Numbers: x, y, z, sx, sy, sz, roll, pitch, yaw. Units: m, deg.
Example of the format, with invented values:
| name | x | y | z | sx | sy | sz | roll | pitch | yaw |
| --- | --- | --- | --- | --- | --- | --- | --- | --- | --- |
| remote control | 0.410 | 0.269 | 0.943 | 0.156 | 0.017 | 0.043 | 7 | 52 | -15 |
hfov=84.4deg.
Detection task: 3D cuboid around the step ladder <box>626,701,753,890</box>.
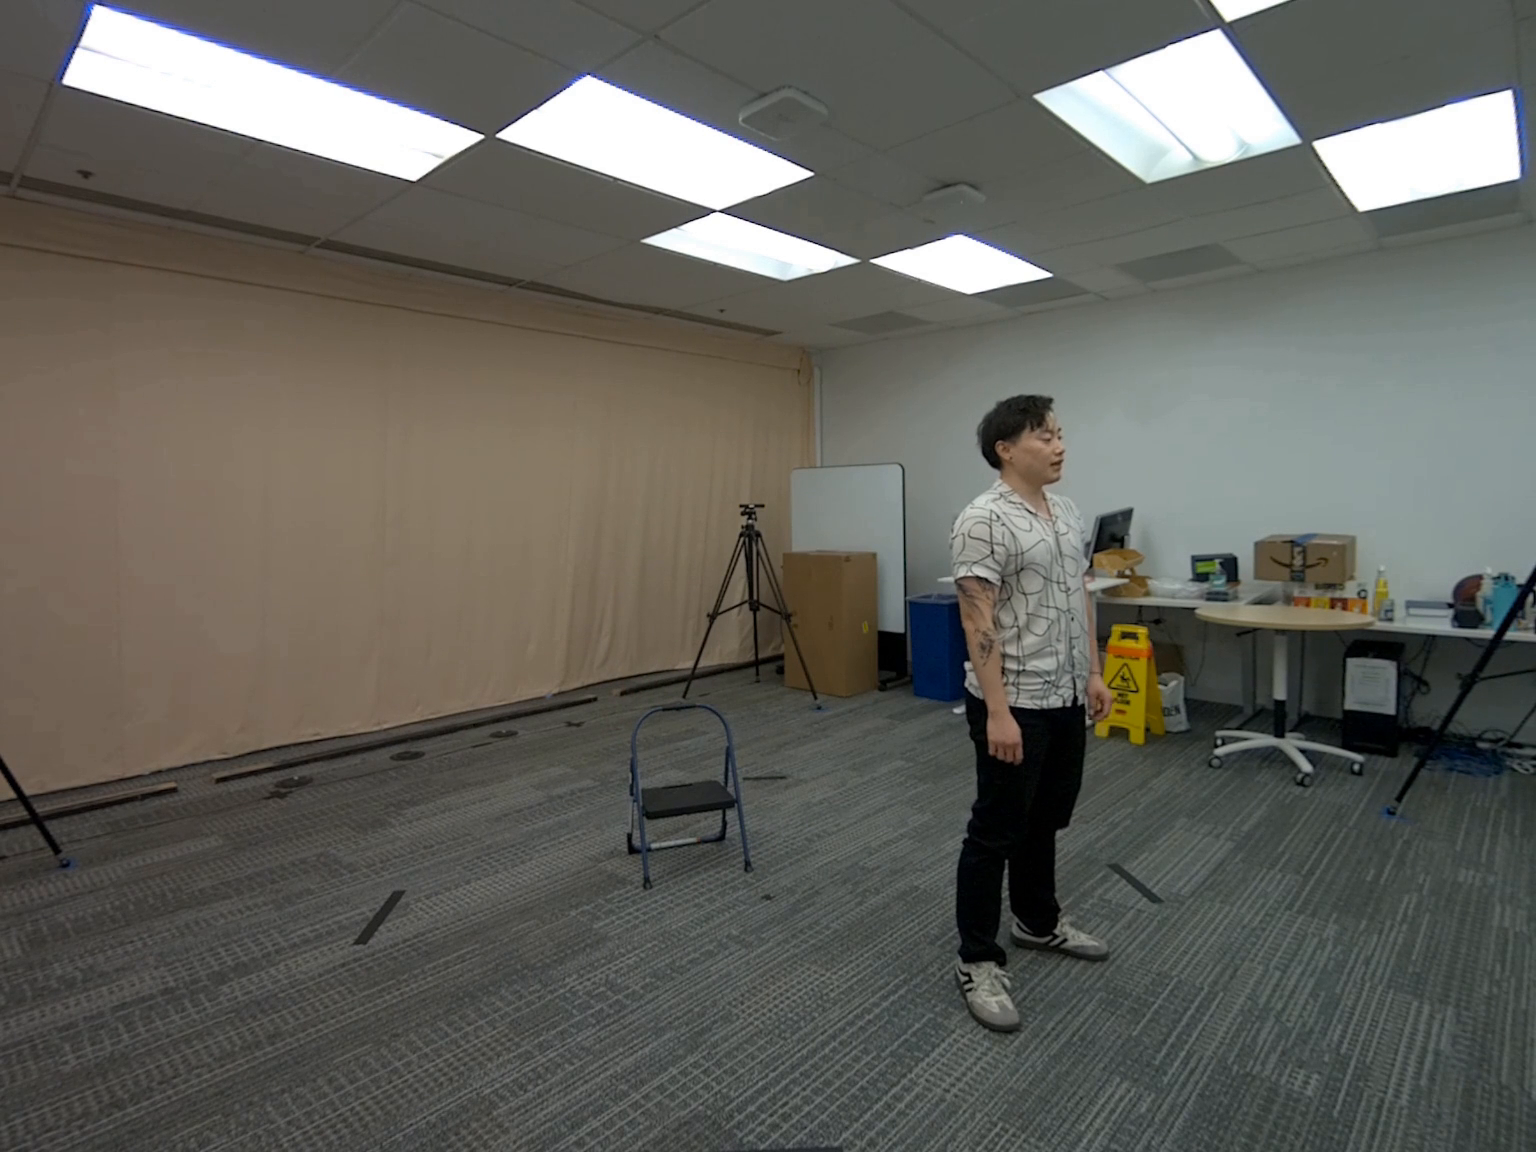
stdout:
| name | x | y | z | sx | sy | sz | roll | pitch | yaw |
| --- | --- | --- | --- | --- | --- | --- | --- | --- | --- |
| step ladder | -0.320 | 0.817 | 3.285 | 0.422 | 0.605 | 0.357 | -2 | 3 | -20 |
